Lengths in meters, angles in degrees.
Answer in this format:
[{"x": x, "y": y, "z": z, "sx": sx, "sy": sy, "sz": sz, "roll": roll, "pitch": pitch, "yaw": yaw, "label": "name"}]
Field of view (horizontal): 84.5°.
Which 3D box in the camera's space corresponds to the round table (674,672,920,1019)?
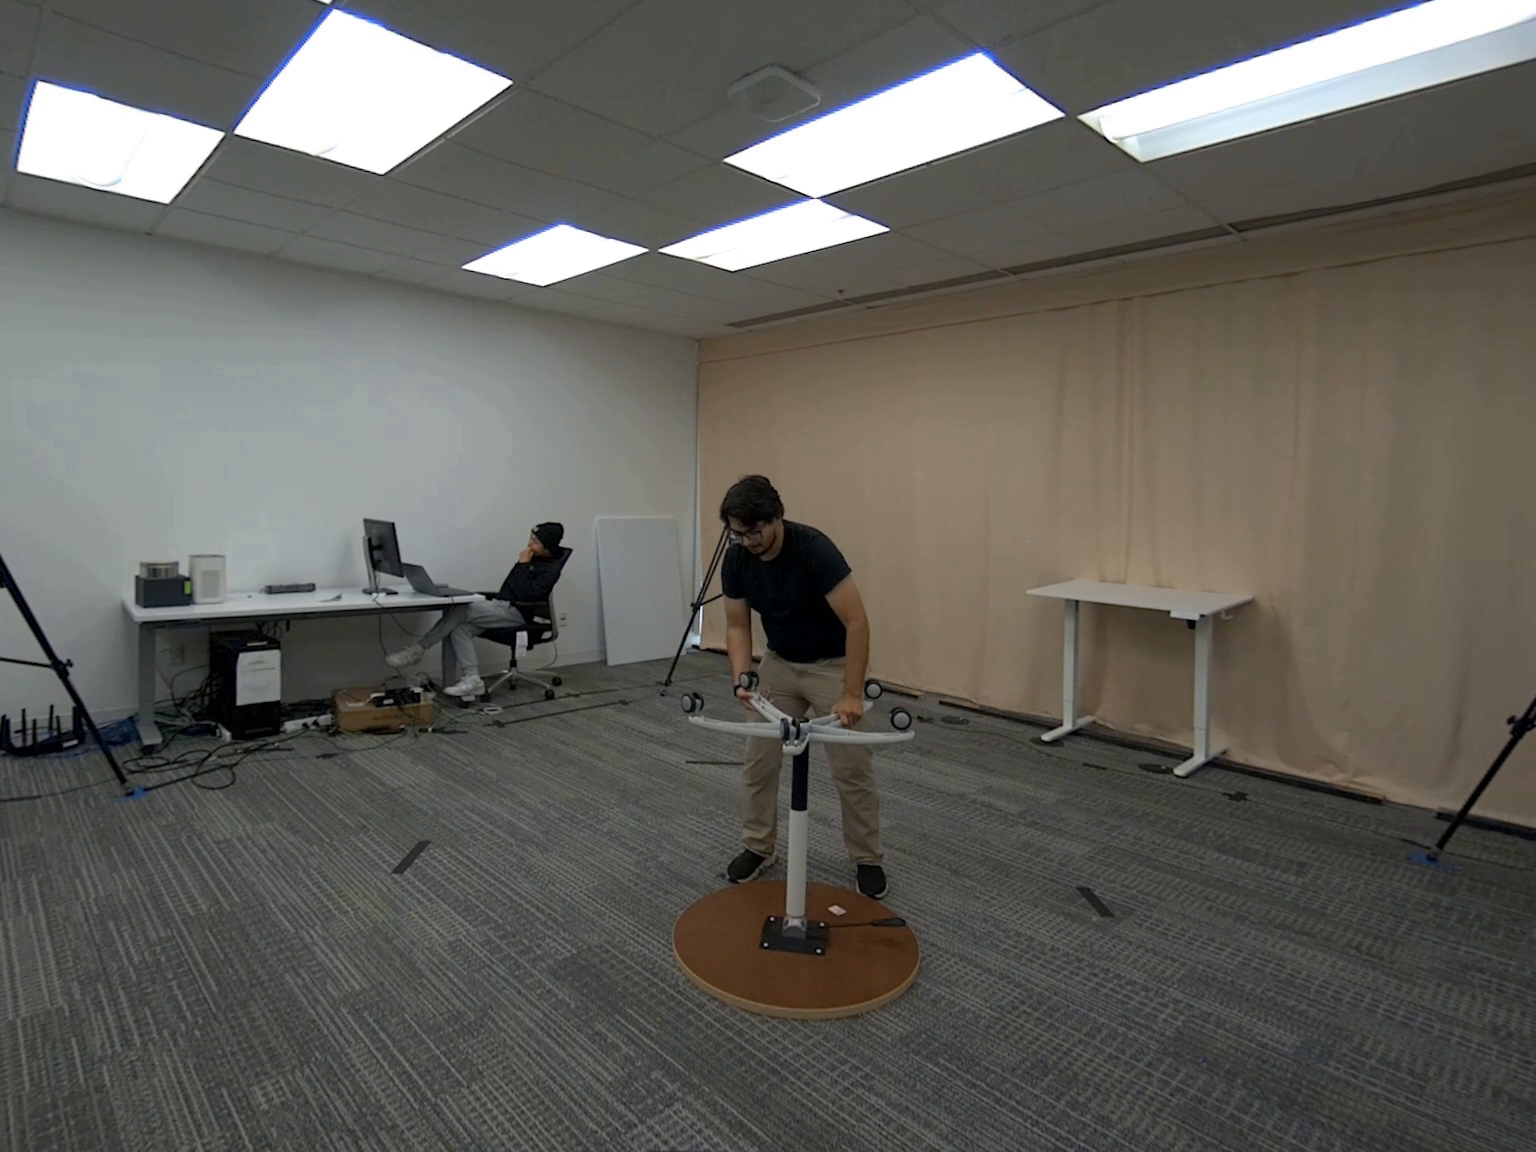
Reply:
[{"x": 0.081, "y": 0.763, "z": 2.605, "sx": 0.784, "sy": 0.785, "sz": 0.787, "roll": 1, "pitch": 4, "yaw": -1, "label": "round table"}]
